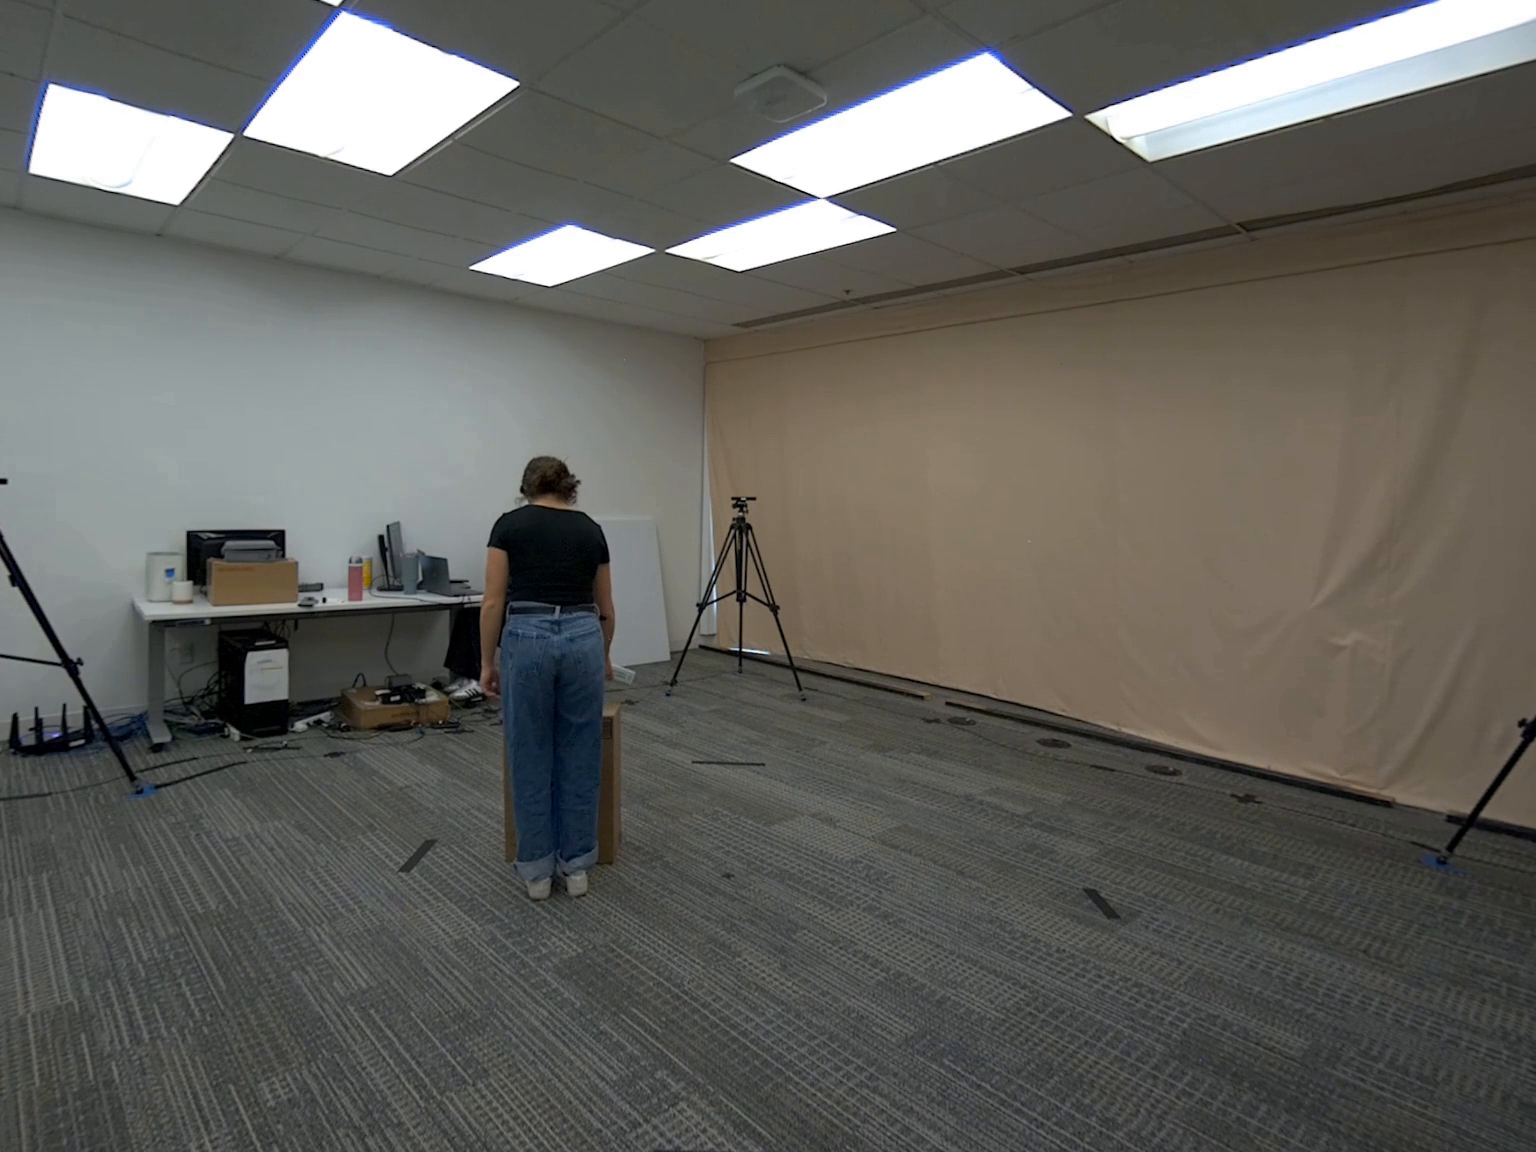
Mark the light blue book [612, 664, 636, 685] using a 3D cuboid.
[{"bbox_3d":[-0.712,0.372,3.384,0.196,0.059,0.253,4,-17,42],"label":"light blue book"}]
